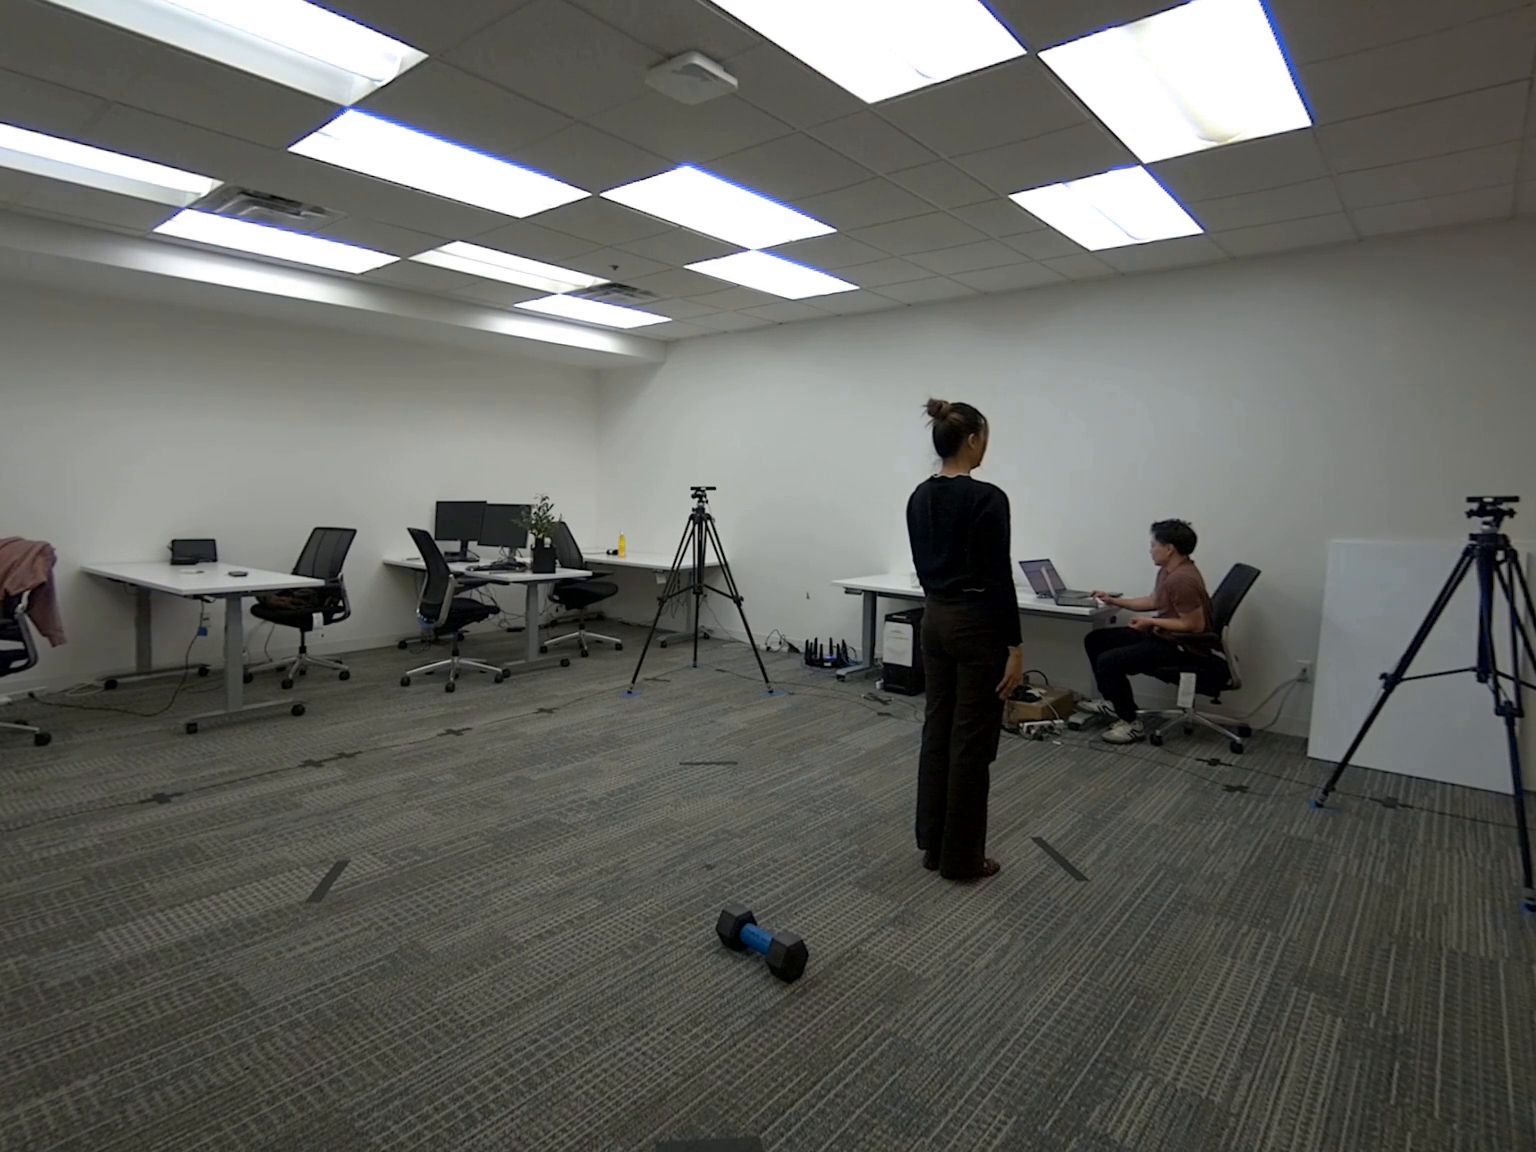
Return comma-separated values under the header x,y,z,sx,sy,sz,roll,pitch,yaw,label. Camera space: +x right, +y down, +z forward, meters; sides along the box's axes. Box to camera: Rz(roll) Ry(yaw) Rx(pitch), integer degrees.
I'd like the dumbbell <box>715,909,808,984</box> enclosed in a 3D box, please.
x,y,z,sx,sy,sz,roll,pitch,yaw,label
-0.028,1.075,2.507,0.304,0.119,0.108,7,38,46,dumbbell
